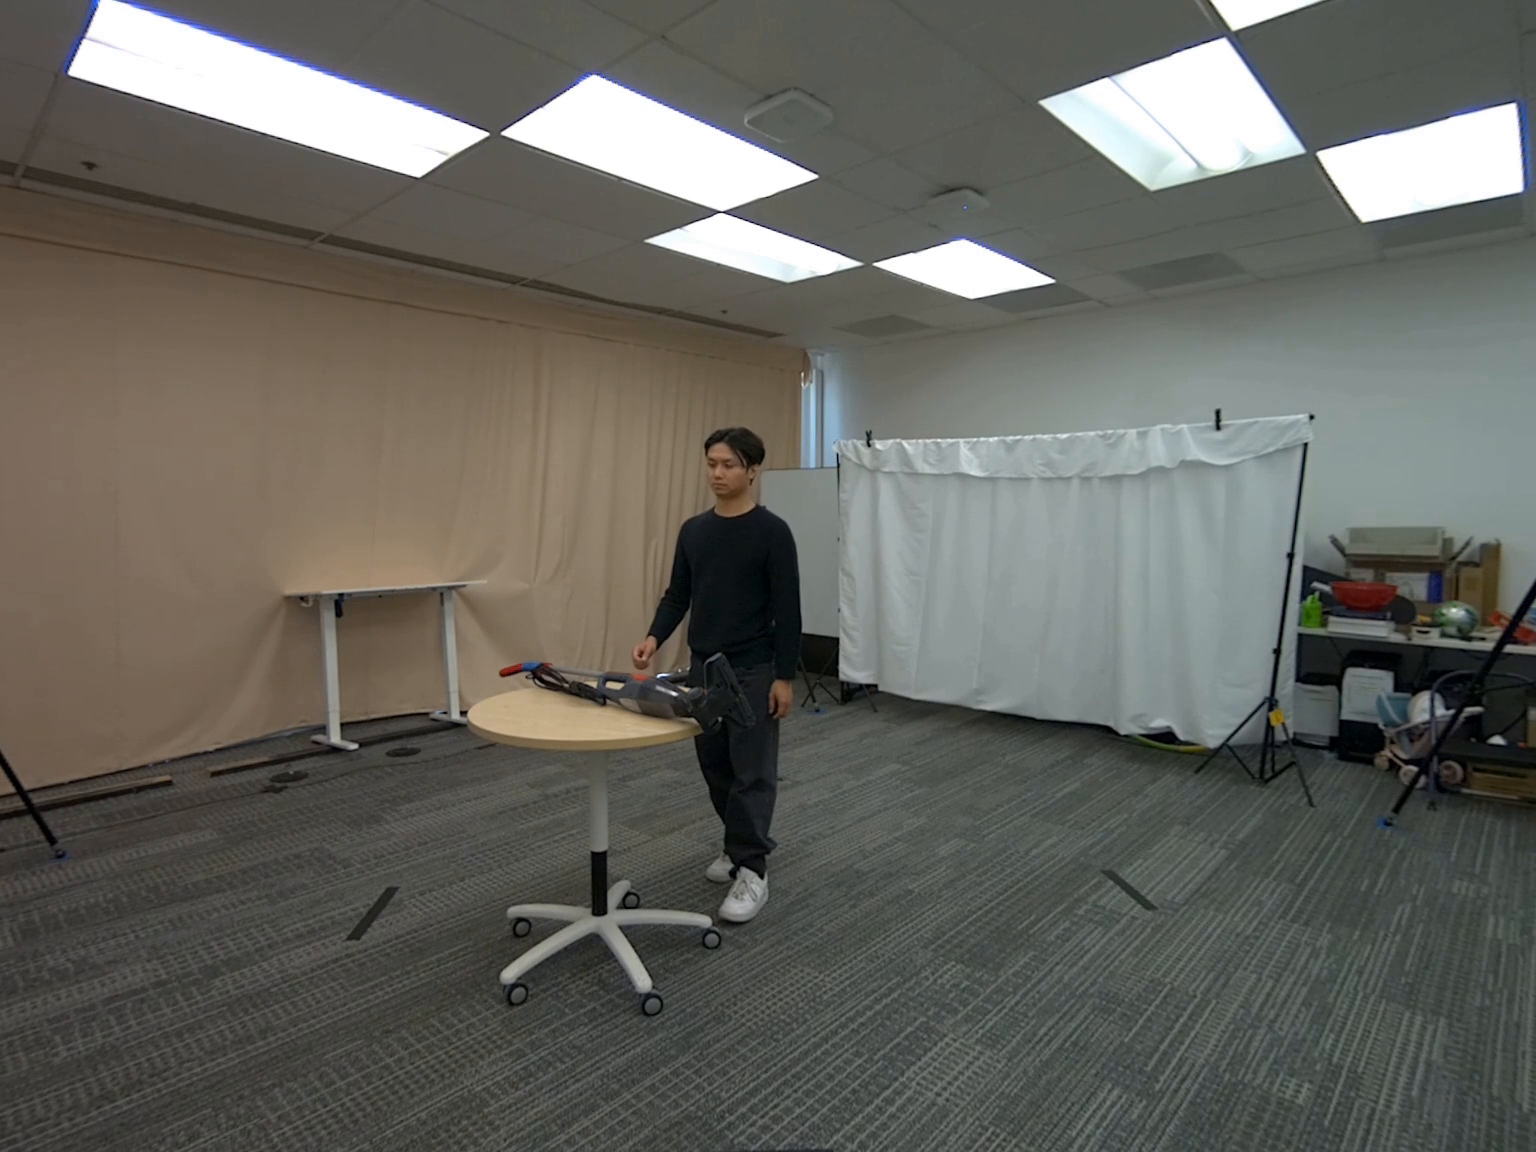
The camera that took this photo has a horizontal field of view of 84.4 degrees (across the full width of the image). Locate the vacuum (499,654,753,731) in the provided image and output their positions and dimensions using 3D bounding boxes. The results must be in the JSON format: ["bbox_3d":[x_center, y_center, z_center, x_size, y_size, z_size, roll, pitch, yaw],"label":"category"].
[{"bbox_3d":[-0.537,0.354,2.668,1.083,0.247,0.143,0,35,41],"label":"vacuum"}]
